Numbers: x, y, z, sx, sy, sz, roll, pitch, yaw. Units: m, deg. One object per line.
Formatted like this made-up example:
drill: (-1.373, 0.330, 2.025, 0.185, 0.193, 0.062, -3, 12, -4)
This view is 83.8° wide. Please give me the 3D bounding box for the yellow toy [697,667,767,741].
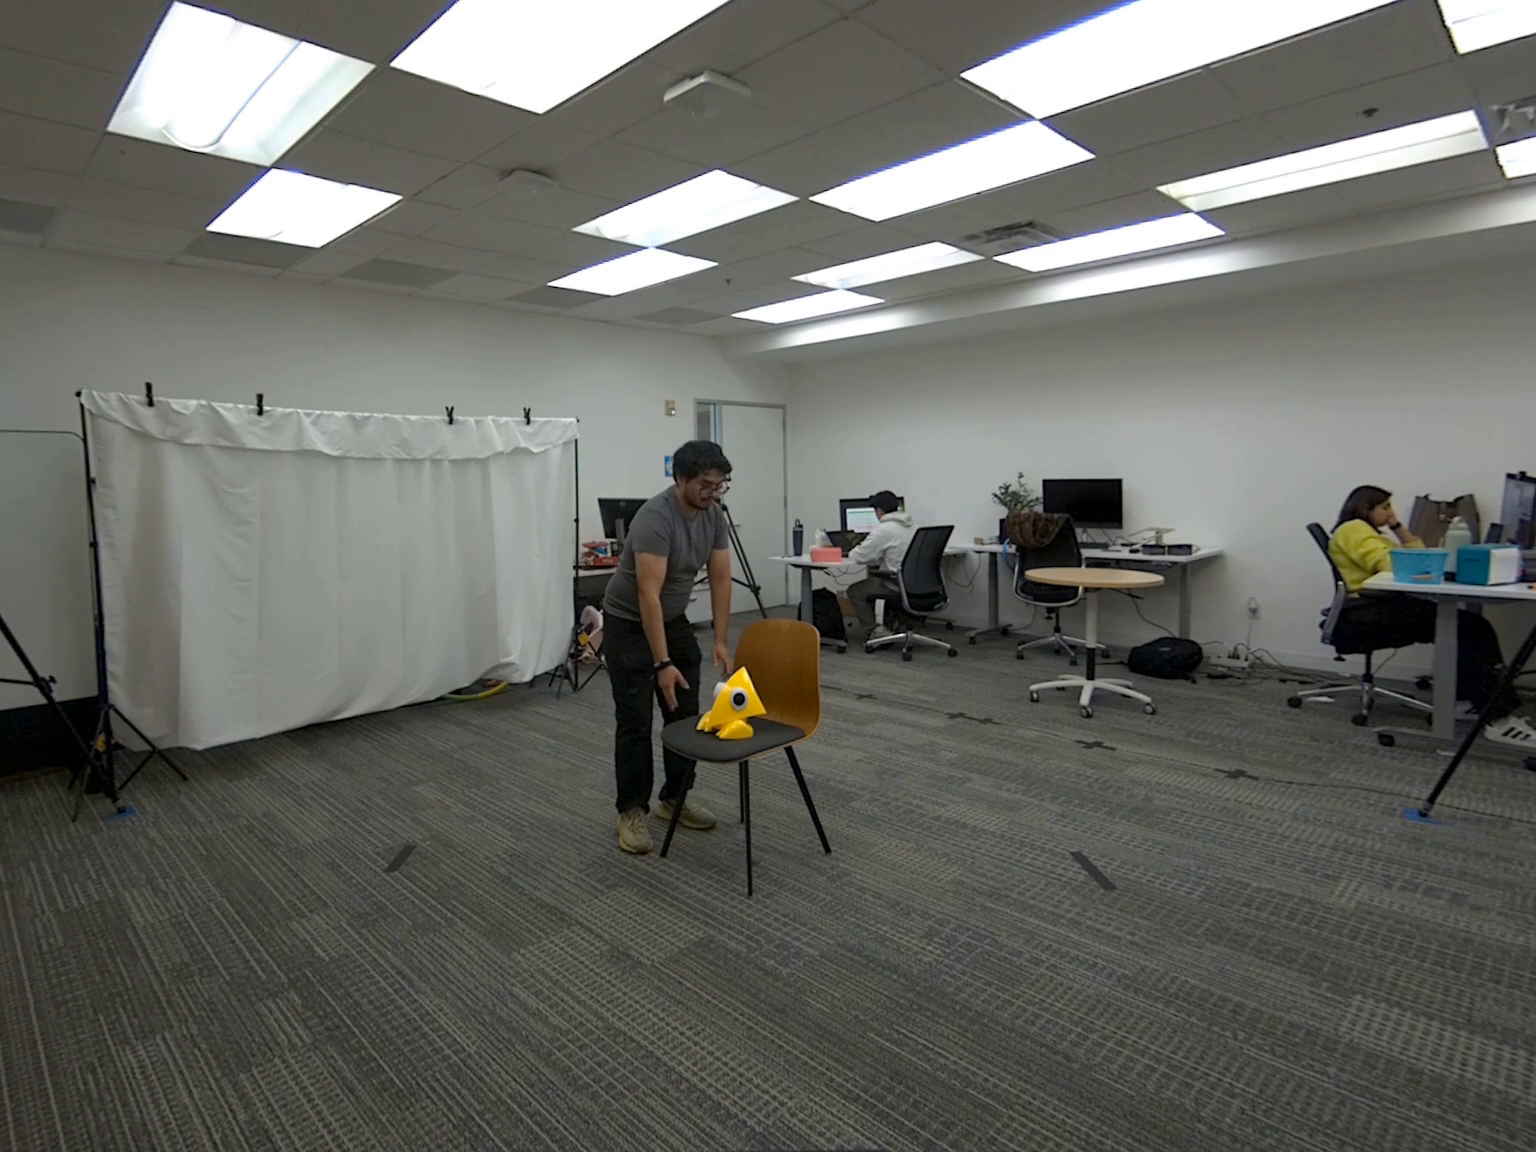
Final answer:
yellow toy: (-0.138, 0.448, 3.111, 0.187, 0.230, 0.211, 1, 4, -43)
